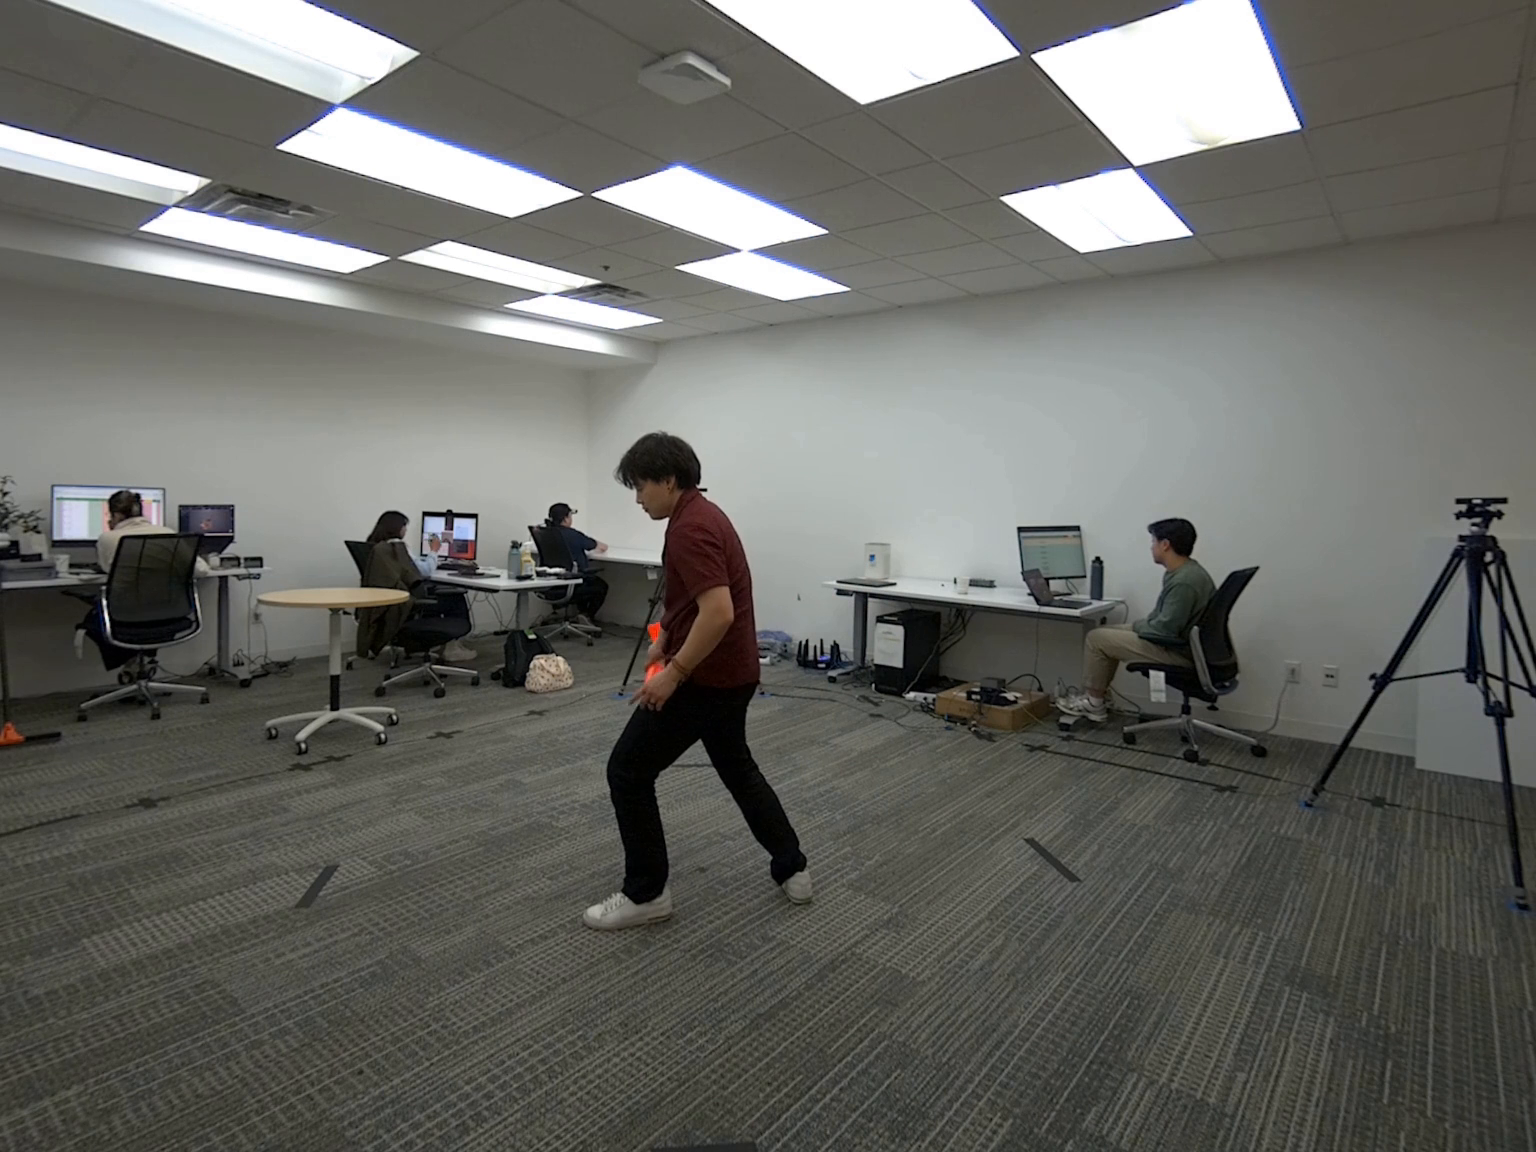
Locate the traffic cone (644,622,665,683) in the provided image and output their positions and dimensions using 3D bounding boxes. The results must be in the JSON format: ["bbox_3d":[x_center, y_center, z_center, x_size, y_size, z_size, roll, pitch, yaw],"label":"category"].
[{"bbox_3d":[-0.409,0.340,3.245,0.208,0.199,0.386,-17,18,19],"label":"traffic cone"}]
